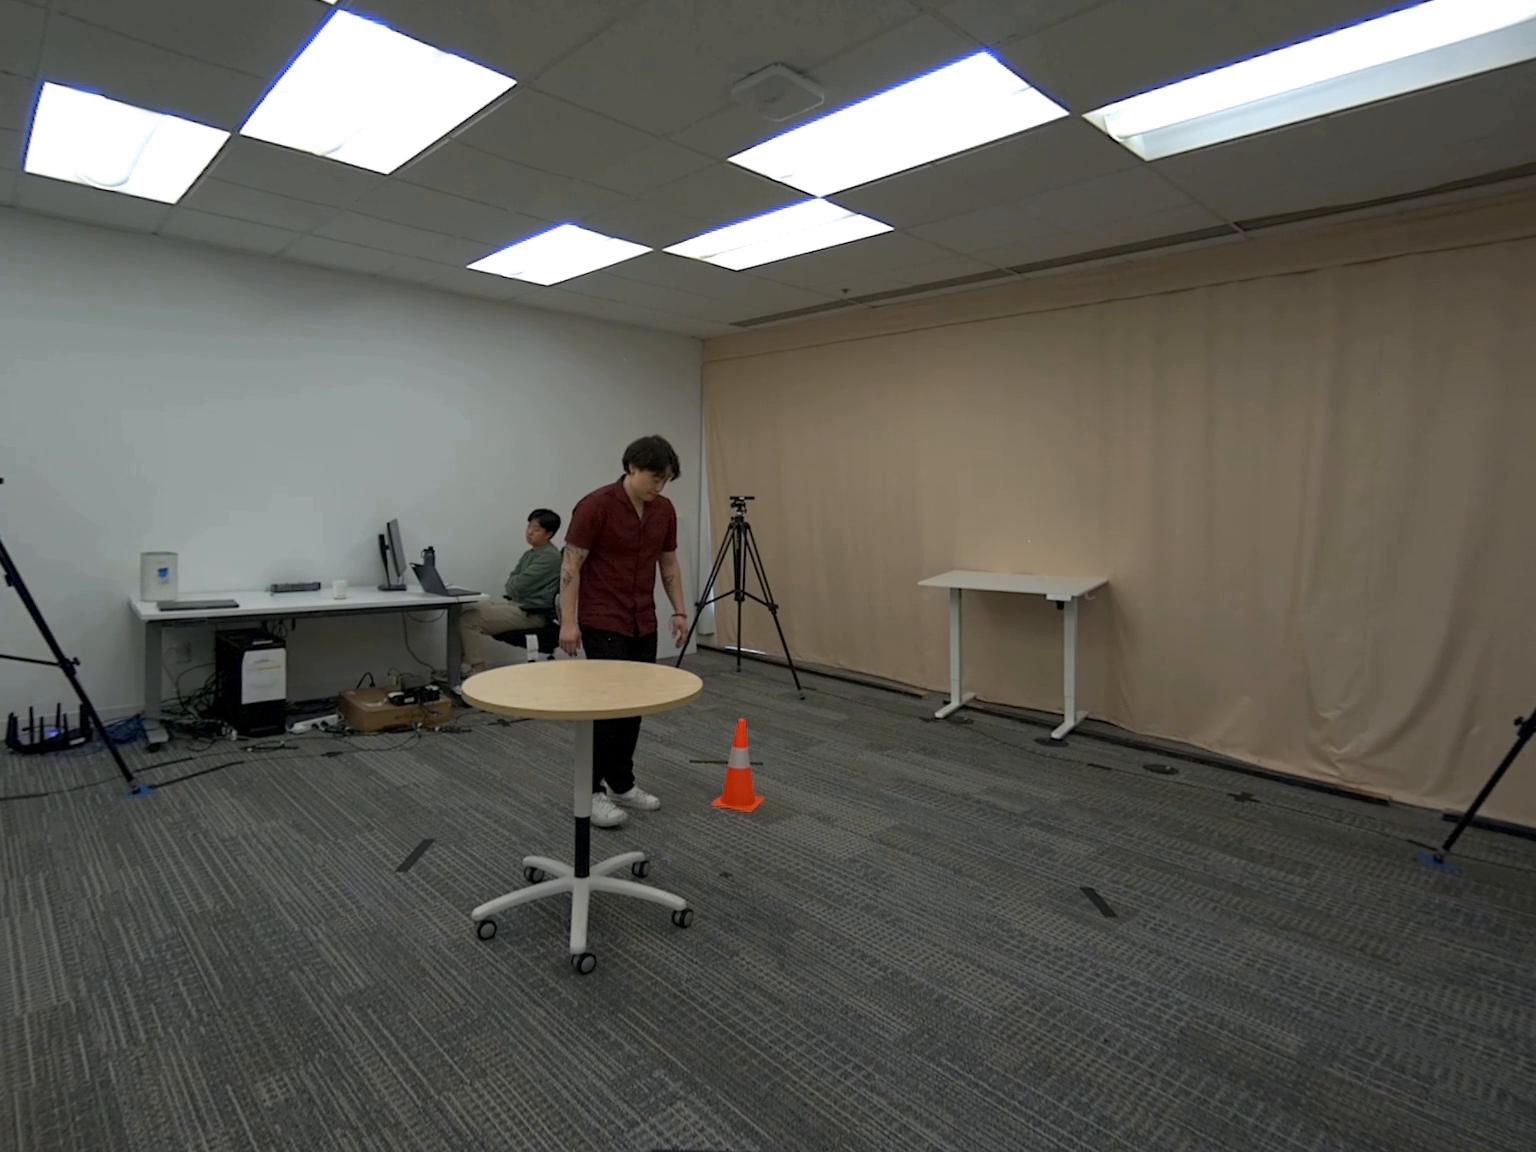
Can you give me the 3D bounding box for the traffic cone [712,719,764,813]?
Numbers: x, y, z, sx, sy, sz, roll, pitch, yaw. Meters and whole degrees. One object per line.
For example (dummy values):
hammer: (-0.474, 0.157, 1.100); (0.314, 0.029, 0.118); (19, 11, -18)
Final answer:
traffic cone: (-0.145, 0.854, 3.868); (0.208, 0.383, 0.200); (3, 2, 22)
